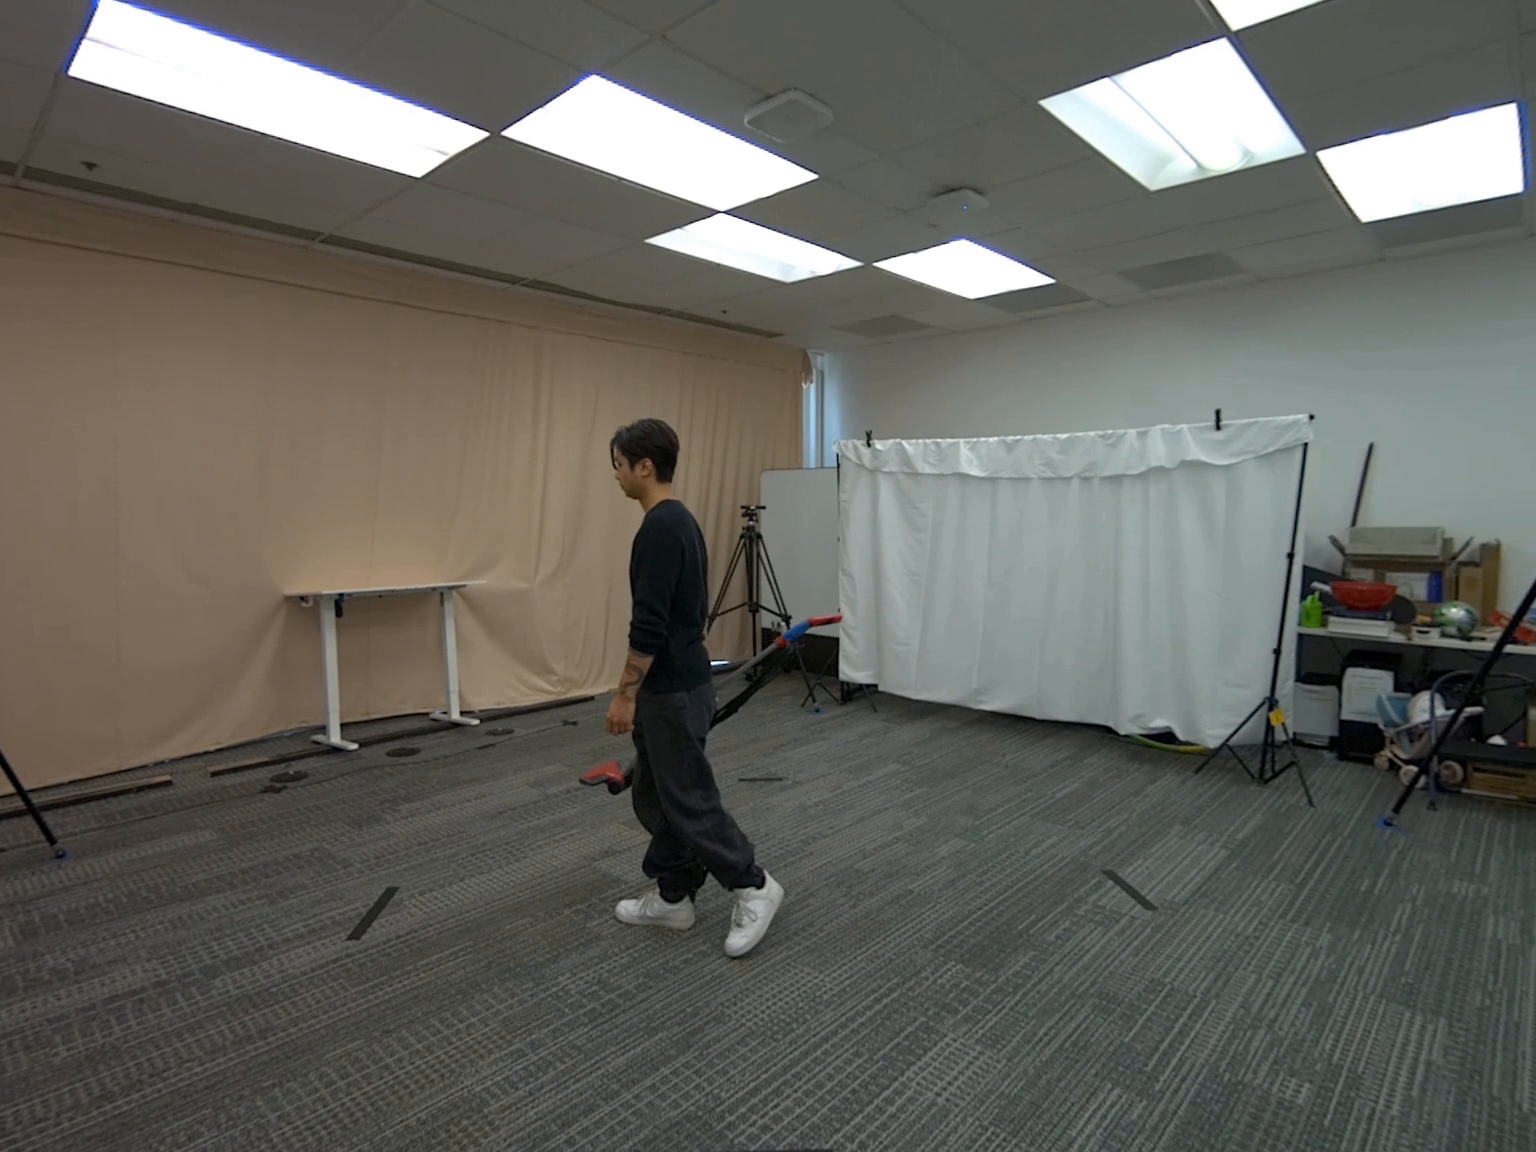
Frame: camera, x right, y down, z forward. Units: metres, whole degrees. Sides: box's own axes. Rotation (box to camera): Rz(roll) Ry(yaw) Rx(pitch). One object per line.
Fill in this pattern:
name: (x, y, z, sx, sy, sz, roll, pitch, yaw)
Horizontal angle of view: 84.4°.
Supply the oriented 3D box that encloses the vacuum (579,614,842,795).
vacuum: (-0.182, 0.447, 2.952, 1.056, 0.145, 0.248, -38, -8, 13)
